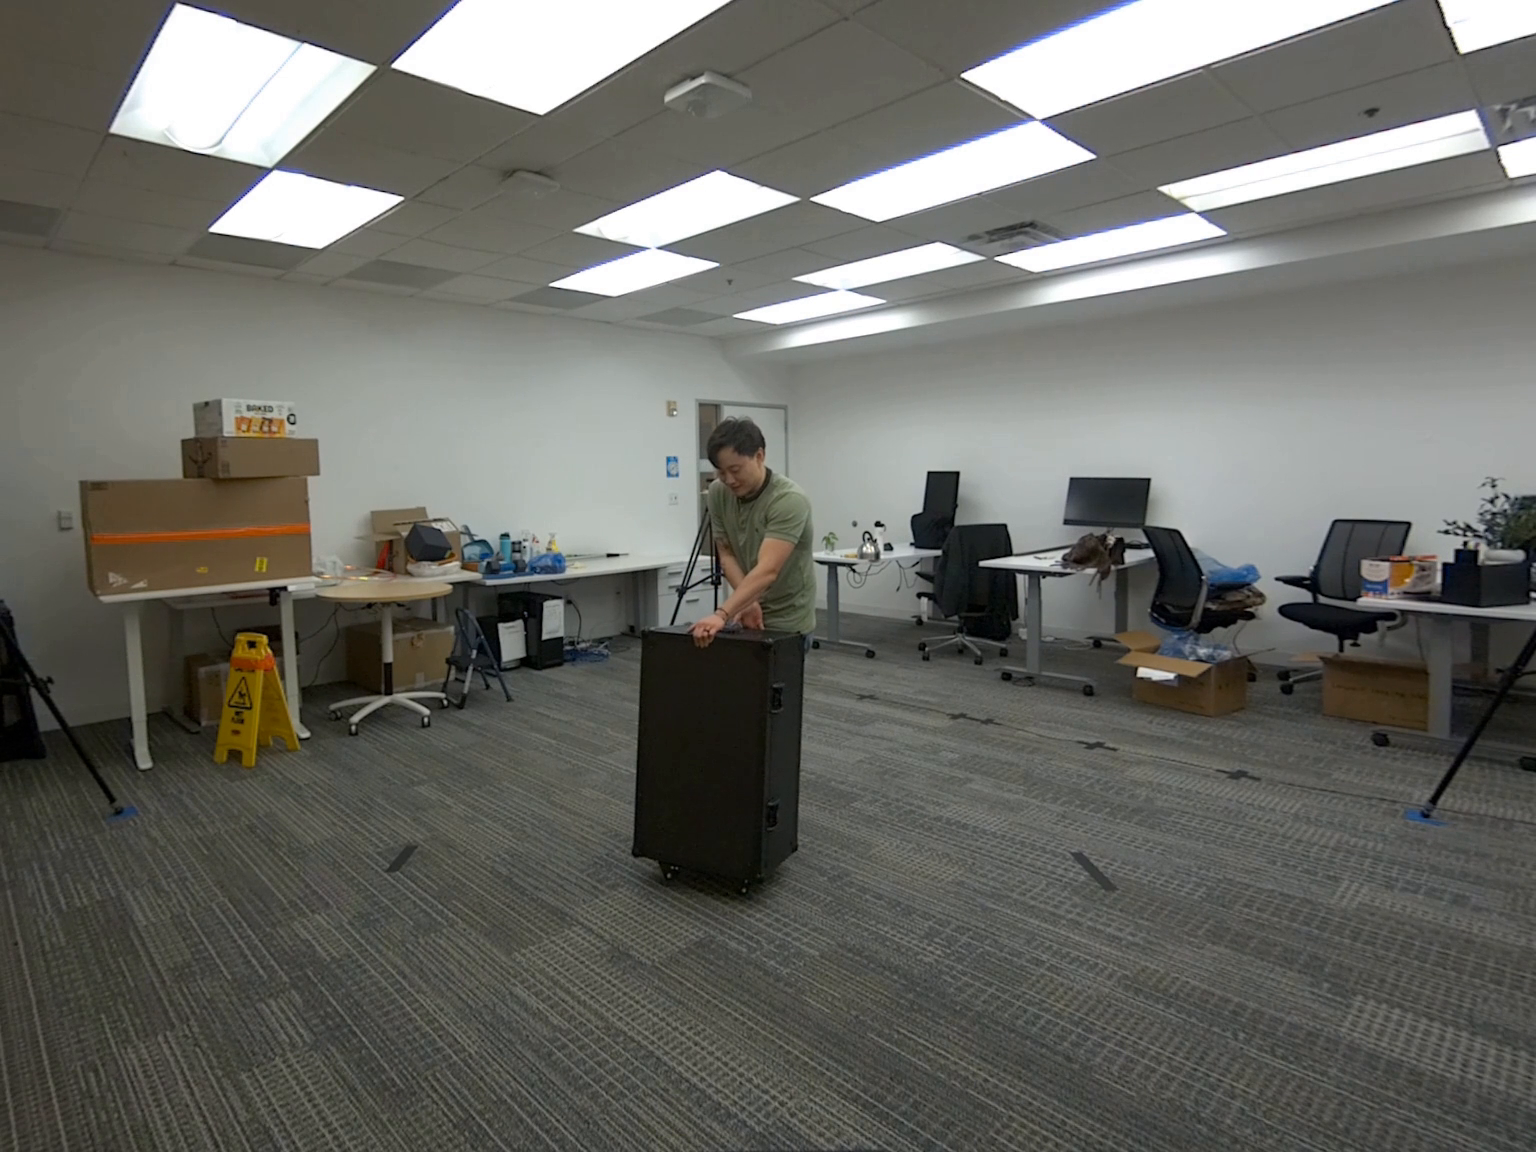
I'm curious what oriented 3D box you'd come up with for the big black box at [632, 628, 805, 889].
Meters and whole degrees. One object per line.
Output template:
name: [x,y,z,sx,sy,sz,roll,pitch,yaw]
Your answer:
big black box: [-0.167,0.619,3.023,0.533,0.863,0.387,2,-1,23]
